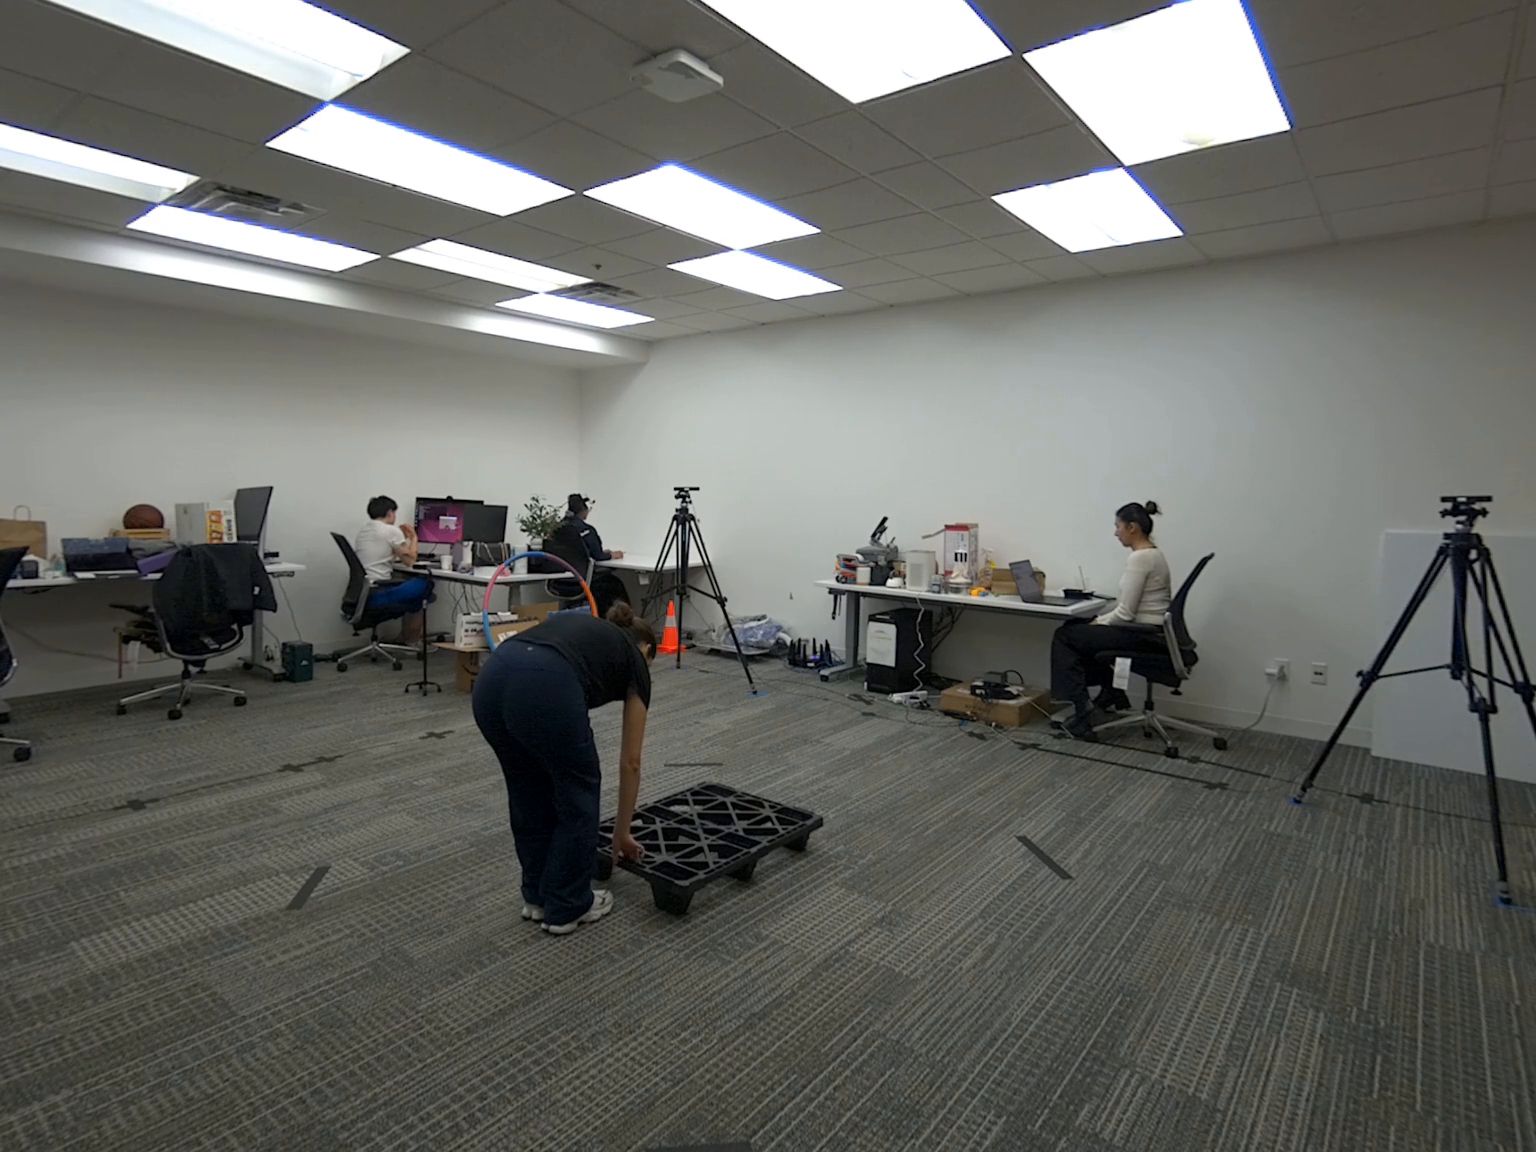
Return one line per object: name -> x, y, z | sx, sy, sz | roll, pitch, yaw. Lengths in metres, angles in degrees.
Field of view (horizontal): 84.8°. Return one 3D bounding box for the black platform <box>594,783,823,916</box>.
black platform -> -0.247, 0.993, 3.186 | 0.625, 0.143, 0.782 | 4, 6, 39
